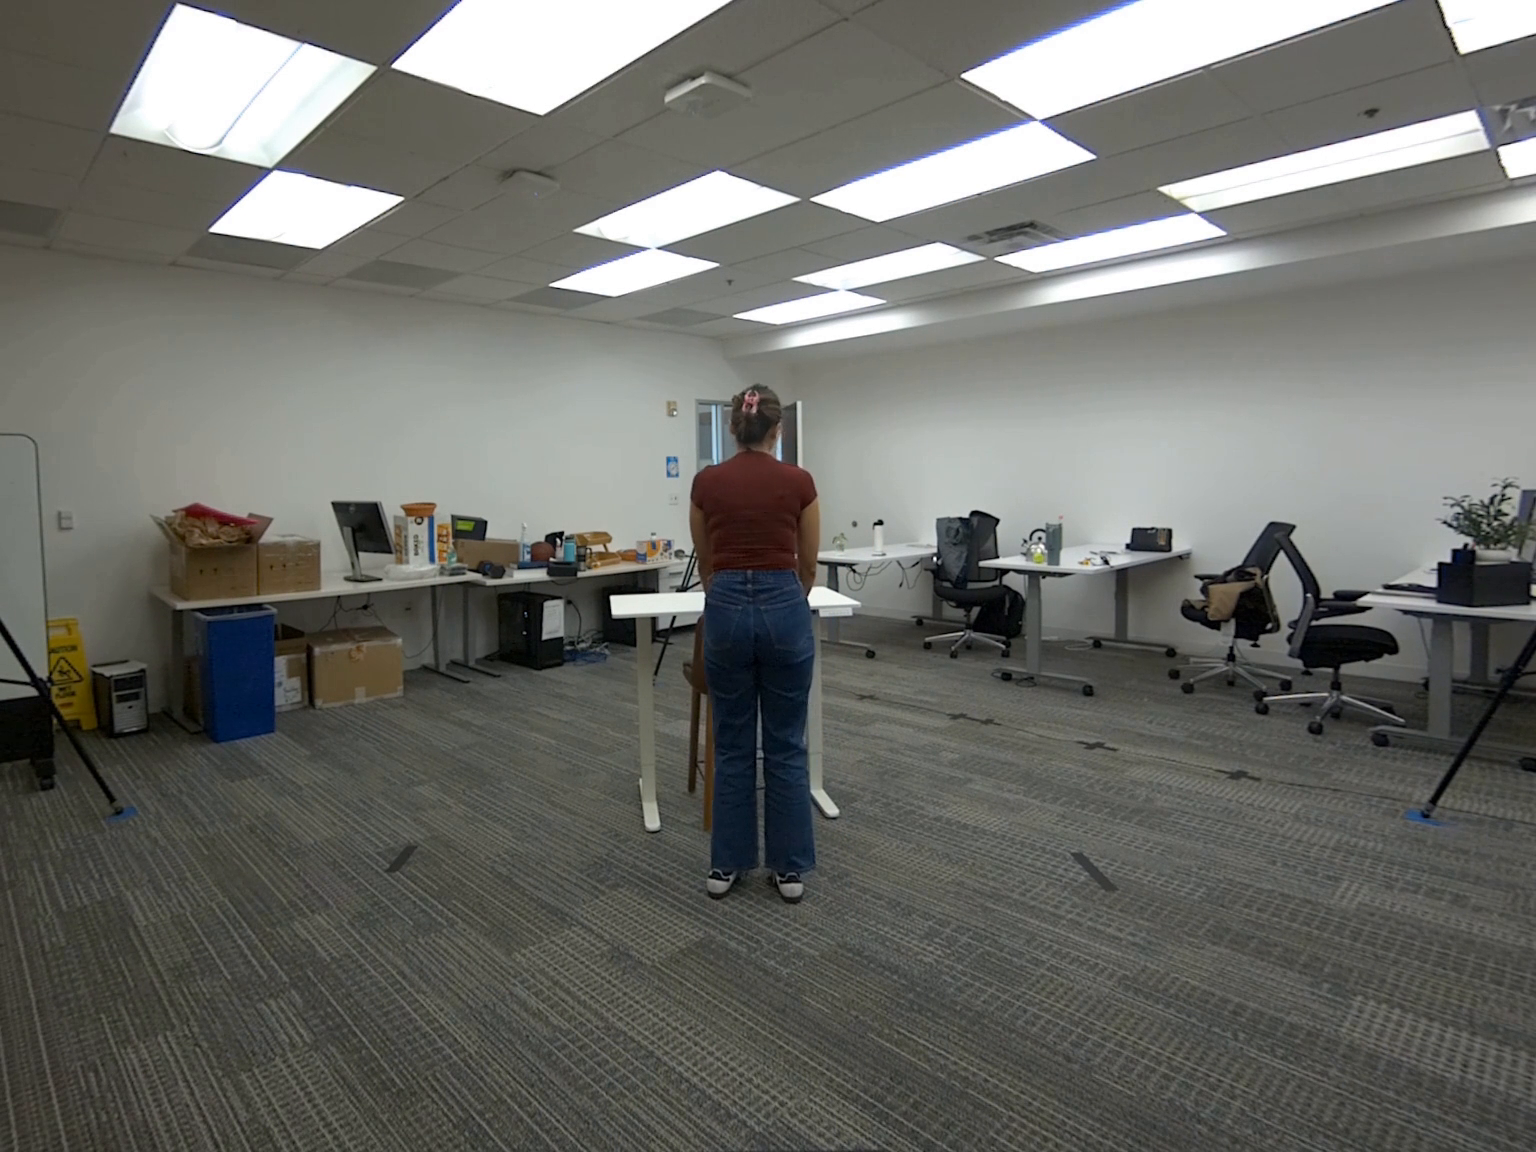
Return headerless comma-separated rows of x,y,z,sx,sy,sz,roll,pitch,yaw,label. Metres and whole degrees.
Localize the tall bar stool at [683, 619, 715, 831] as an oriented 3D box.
-0.109,0.560,3.610,0.453,0.885,0.473,0,6,-8,tall bar stool
